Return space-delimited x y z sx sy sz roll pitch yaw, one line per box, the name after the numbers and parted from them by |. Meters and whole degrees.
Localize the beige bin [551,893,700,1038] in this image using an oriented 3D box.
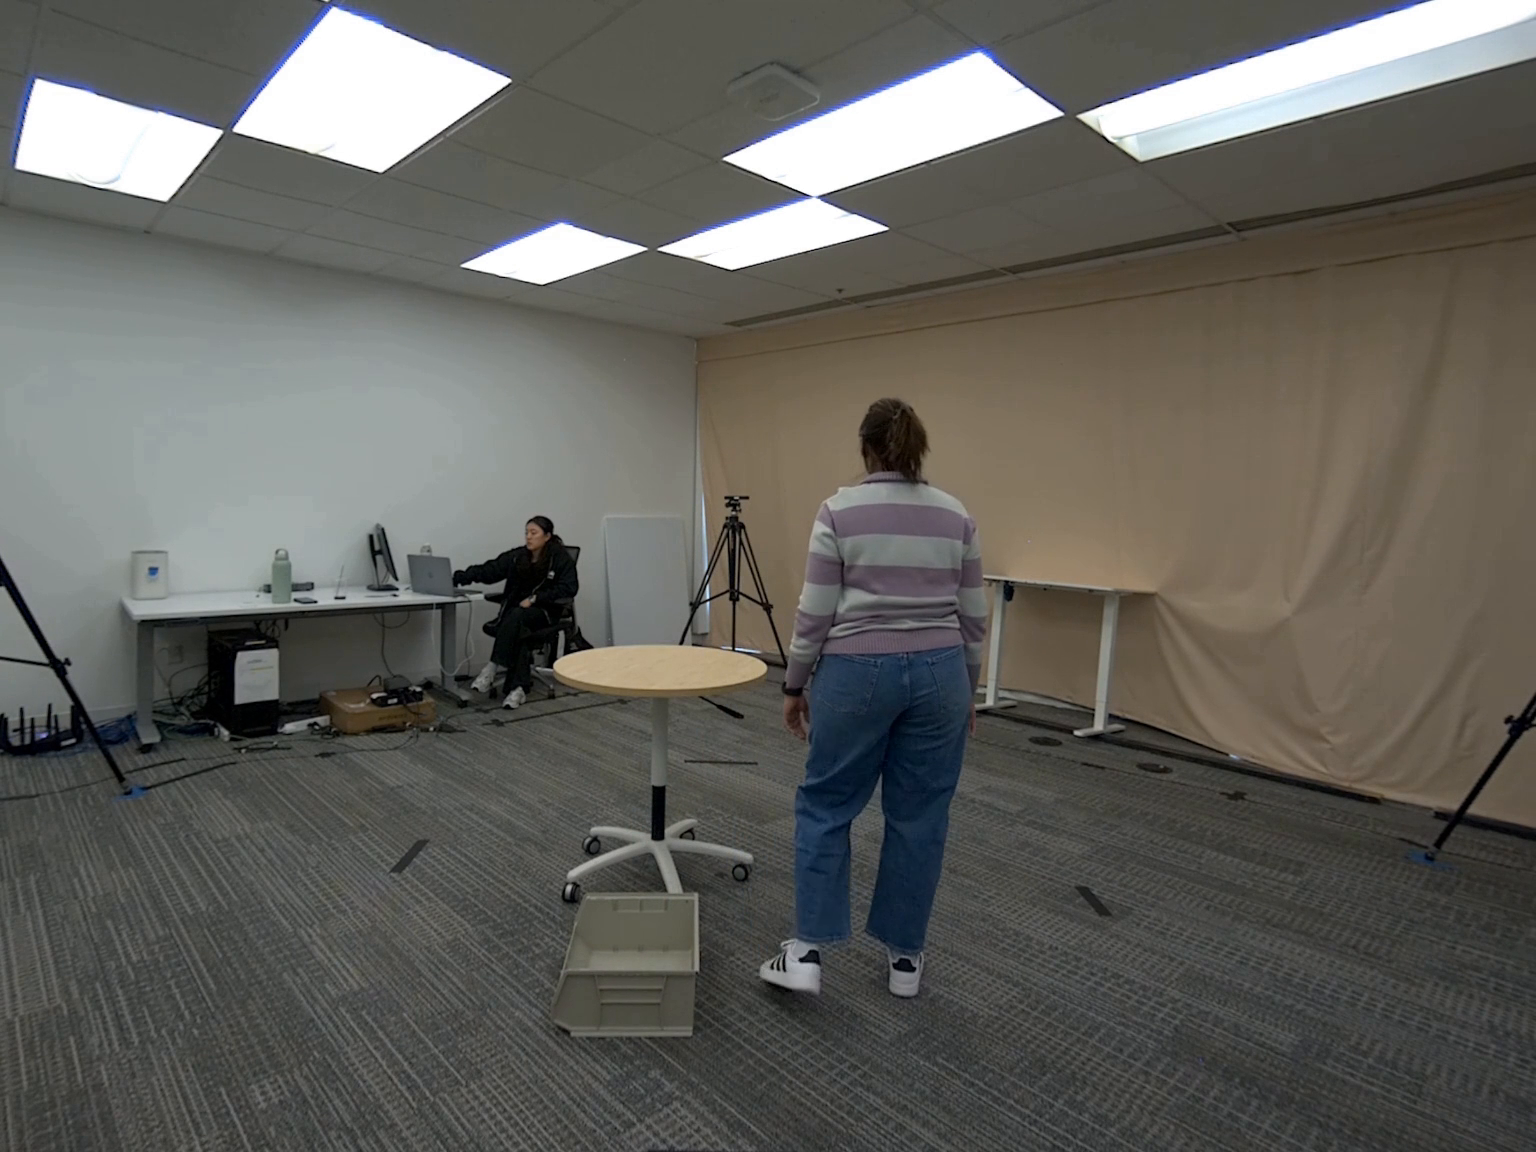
-0.391 1.078 2.358 0.376 0.188 0.425 2 5 -4 | beige bin
